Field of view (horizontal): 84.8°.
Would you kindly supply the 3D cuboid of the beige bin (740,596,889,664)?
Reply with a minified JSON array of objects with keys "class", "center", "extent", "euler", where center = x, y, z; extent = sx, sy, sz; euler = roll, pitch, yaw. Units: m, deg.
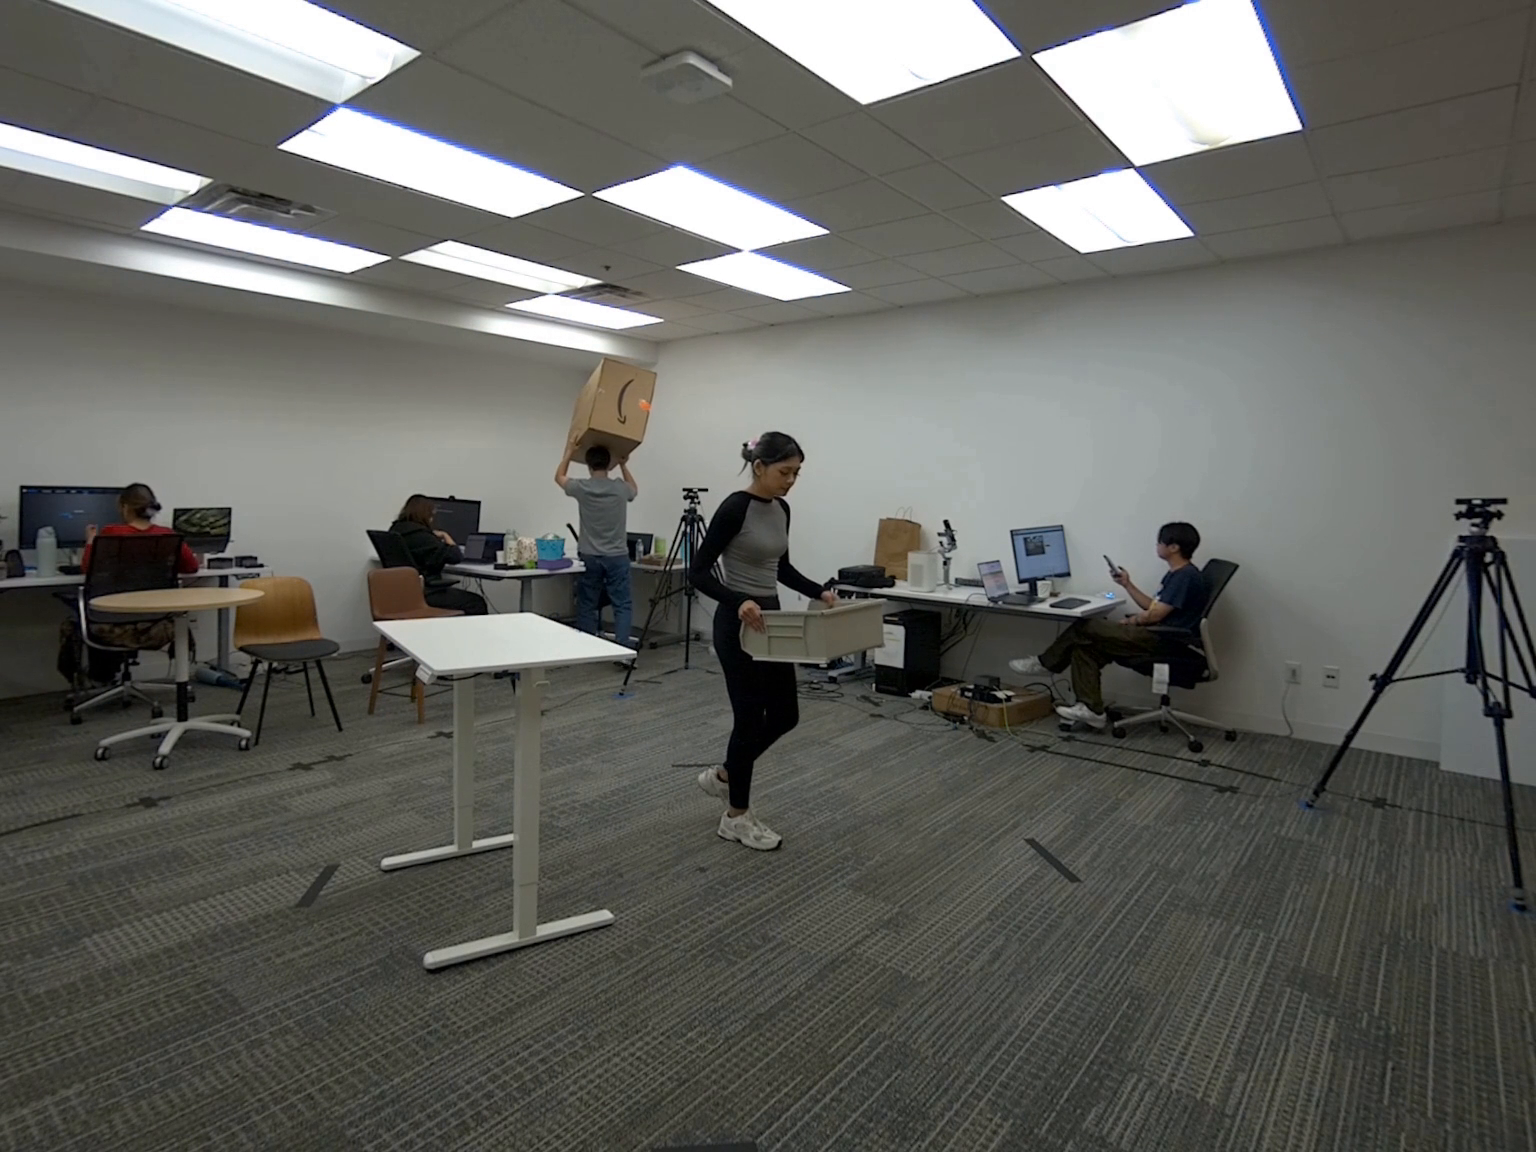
[{"class":"beige bin","center":[0.169,0.188,3.125],"extent":[0.389,0.189,0.409],"euler":[1,2,41]}]
